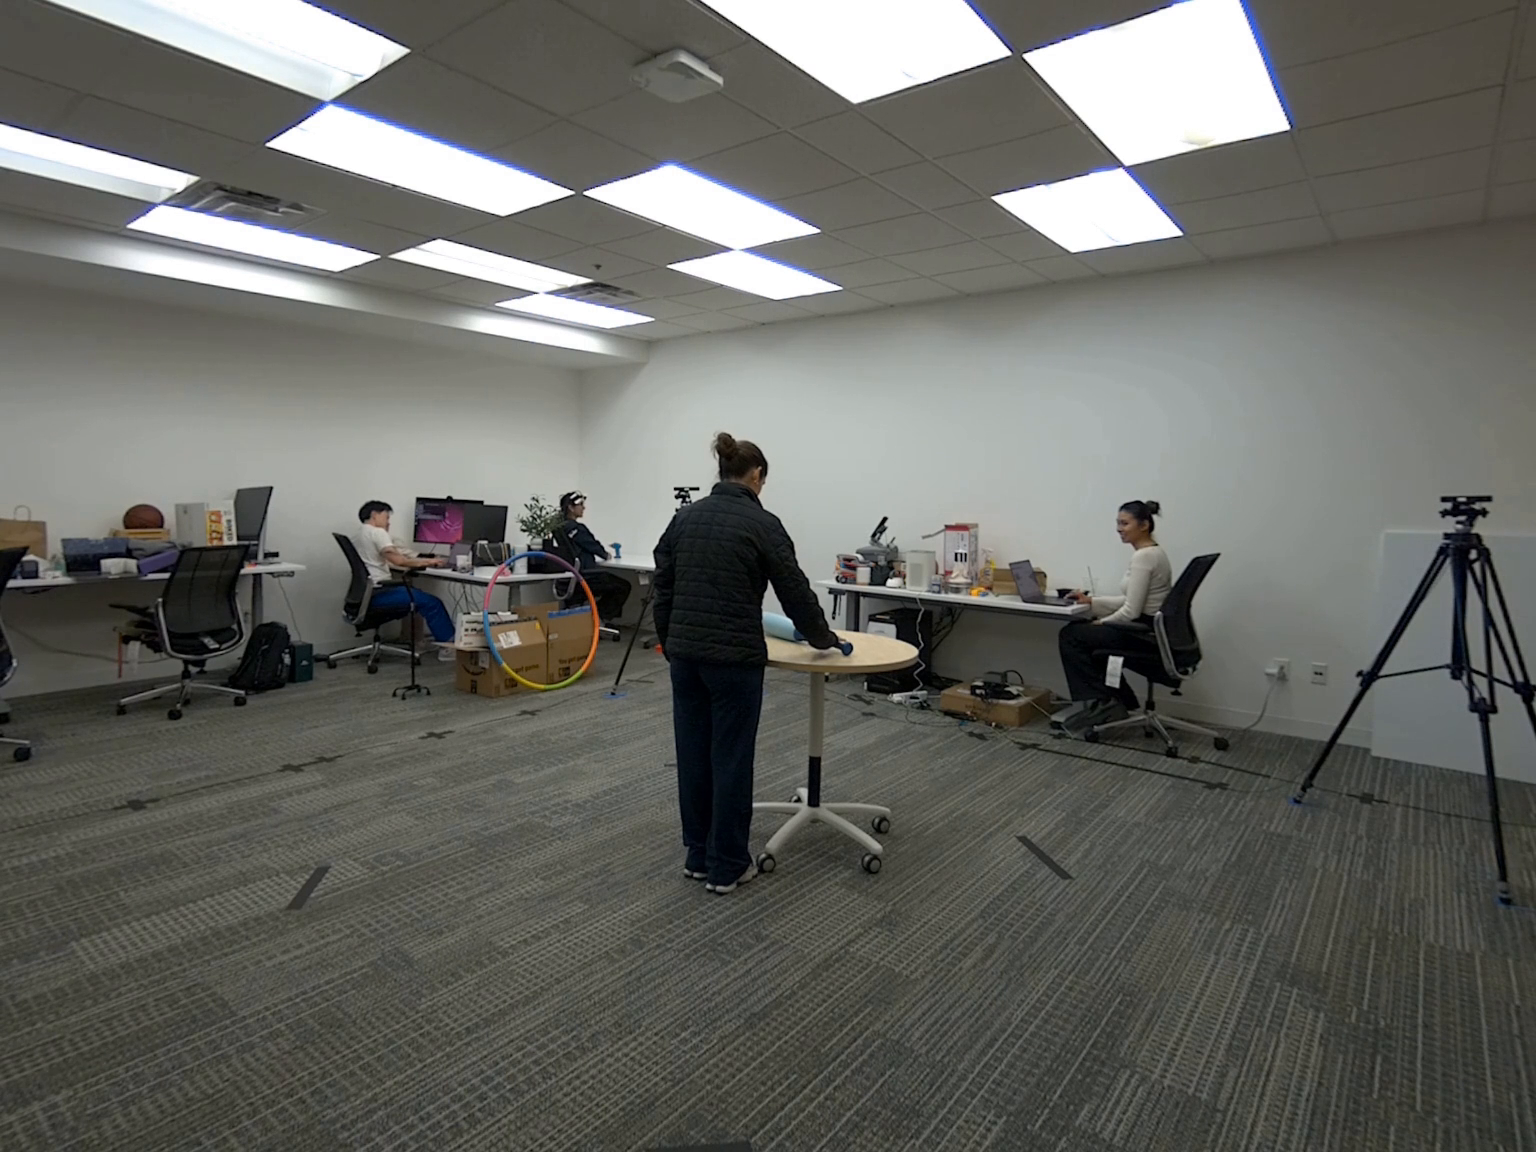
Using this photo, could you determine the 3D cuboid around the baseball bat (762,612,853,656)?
[{"bbox_3d":[0.156,0.227,3.361,0.086,0.088,0.562,-2,10,-35],"label":"baseball bat"}]
